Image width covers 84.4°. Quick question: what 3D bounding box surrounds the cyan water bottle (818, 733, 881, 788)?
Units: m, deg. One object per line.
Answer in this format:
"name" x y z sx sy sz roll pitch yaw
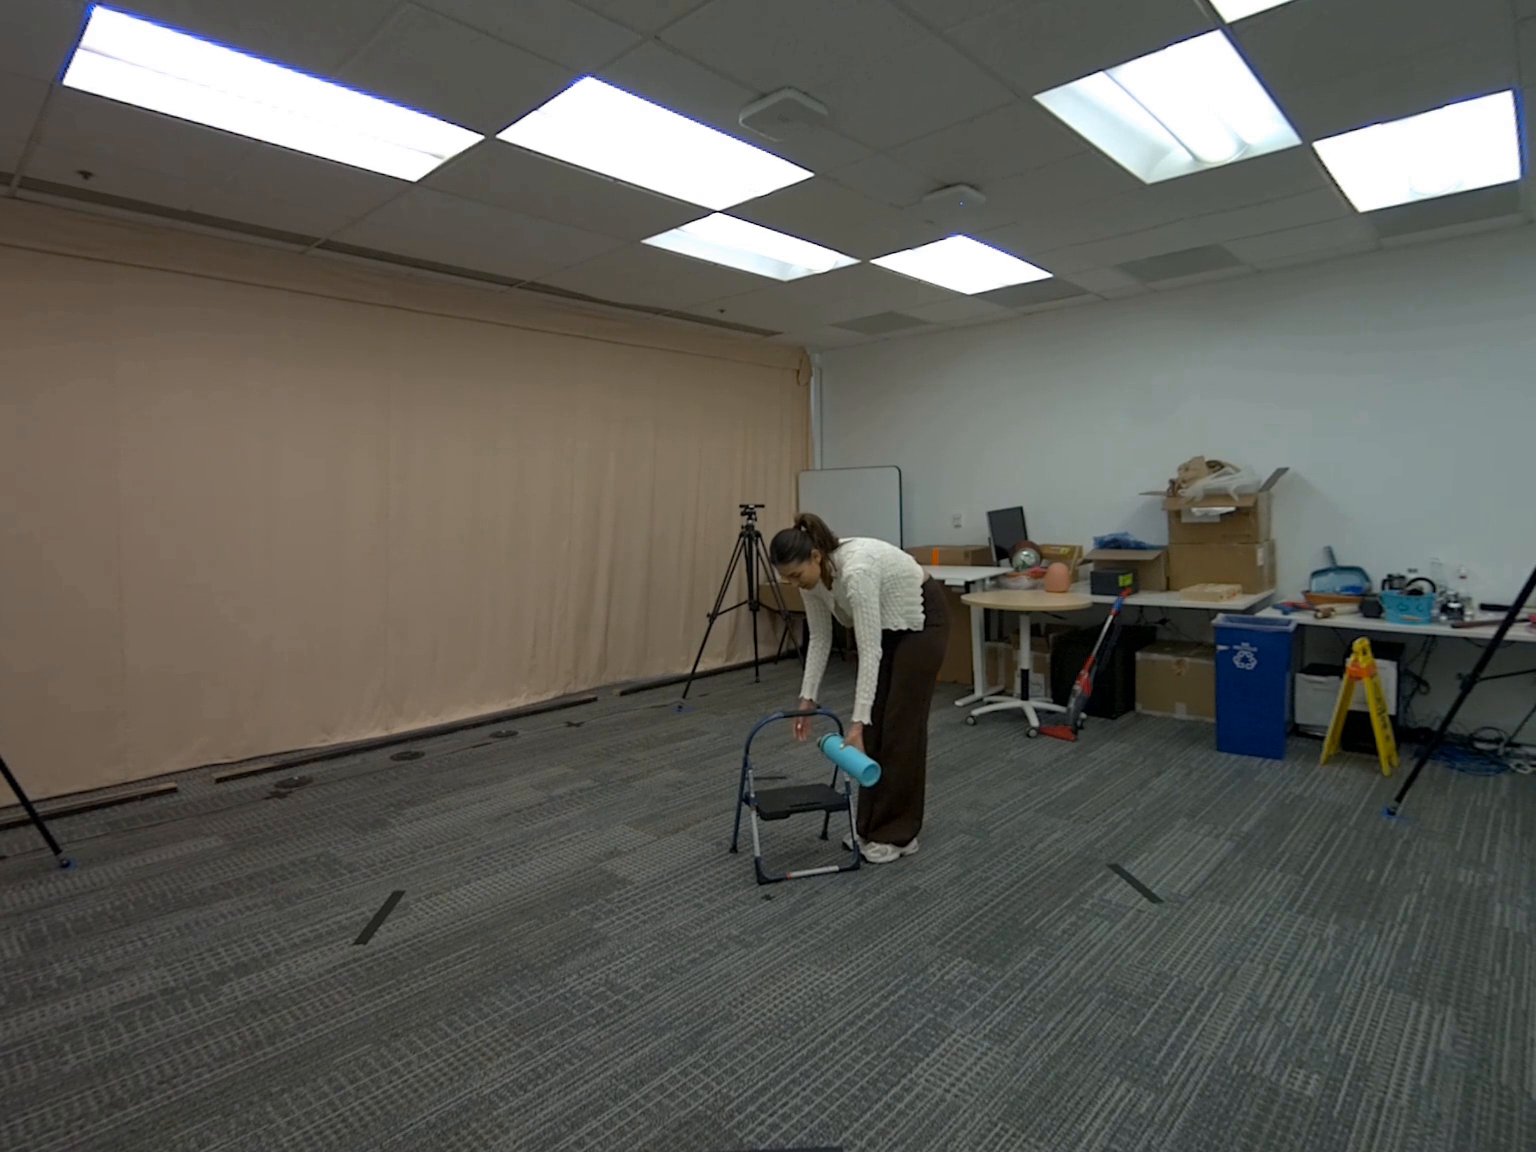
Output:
"cyan water bottle" 0.285 0.635 2.979 0.090 0.092 0.292 -3 15 -27
